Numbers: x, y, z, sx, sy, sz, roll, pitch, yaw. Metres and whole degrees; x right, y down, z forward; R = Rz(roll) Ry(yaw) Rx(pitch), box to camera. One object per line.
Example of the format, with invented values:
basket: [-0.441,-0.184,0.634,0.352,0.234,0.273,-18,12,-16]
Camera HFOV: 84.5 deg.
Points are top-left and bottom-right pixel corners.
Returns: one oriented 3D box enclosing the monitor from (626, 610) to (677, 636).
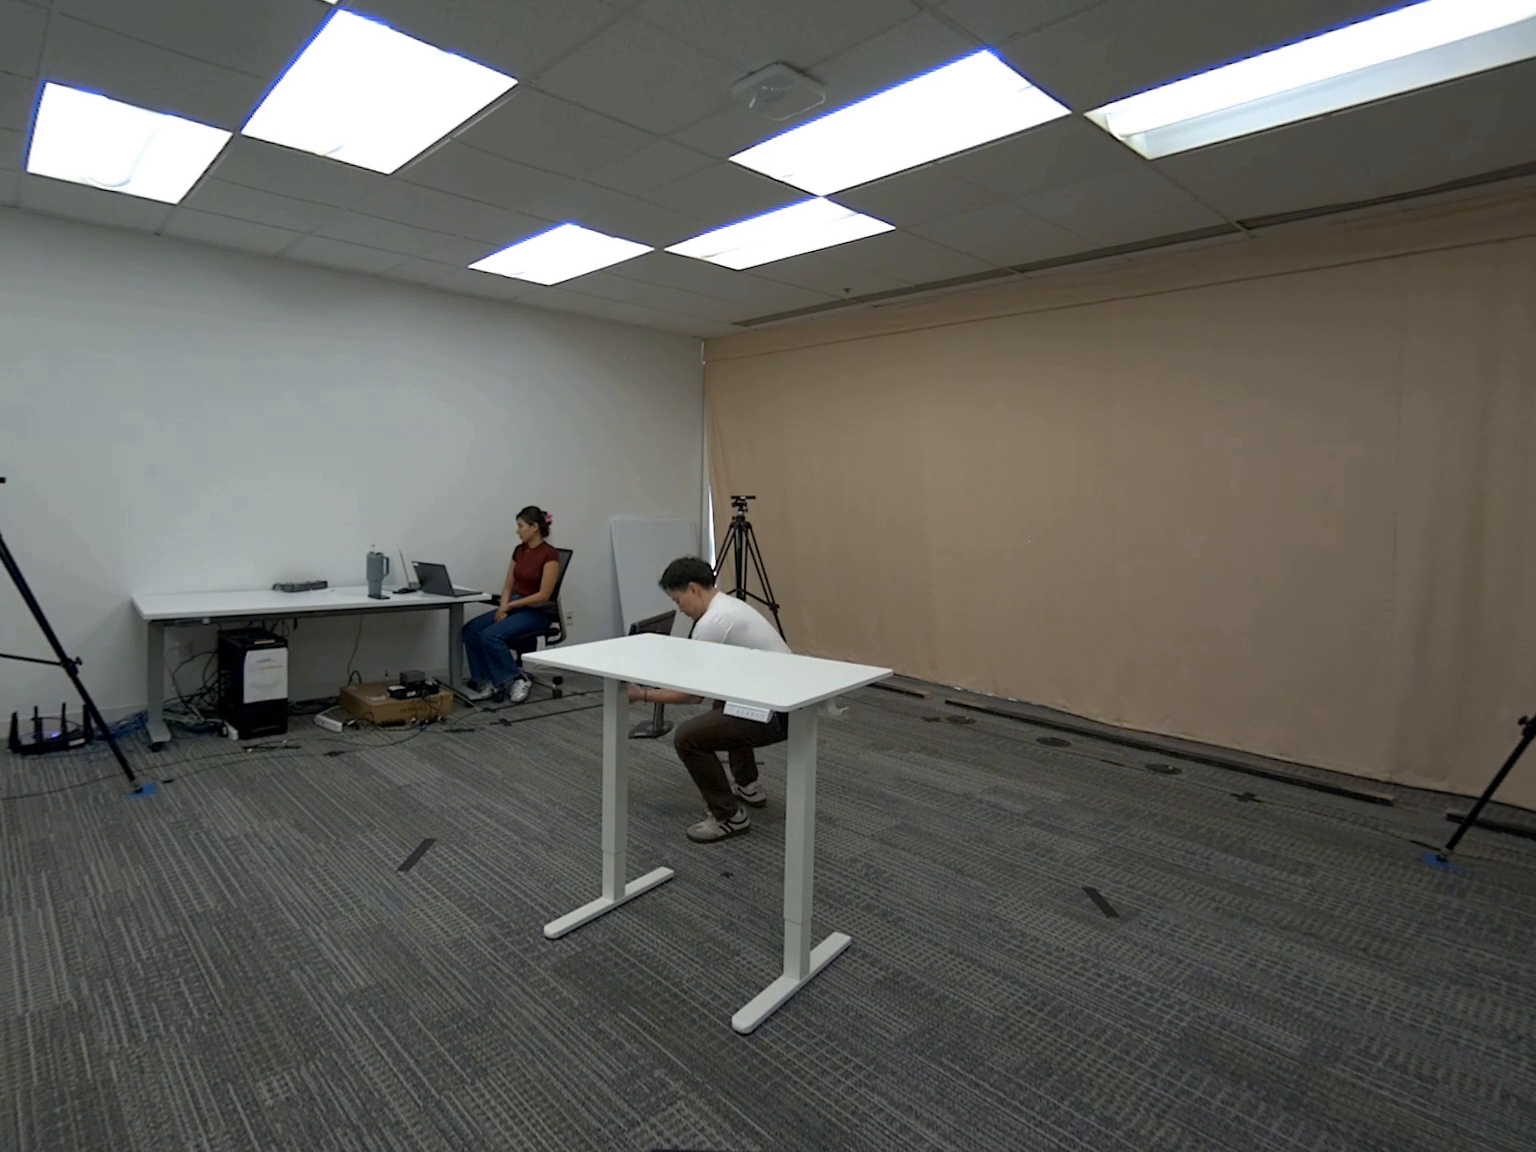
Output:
monitor: [-0.521,0.436,3.766,0.189,0.522,0.535,3,3,10]
